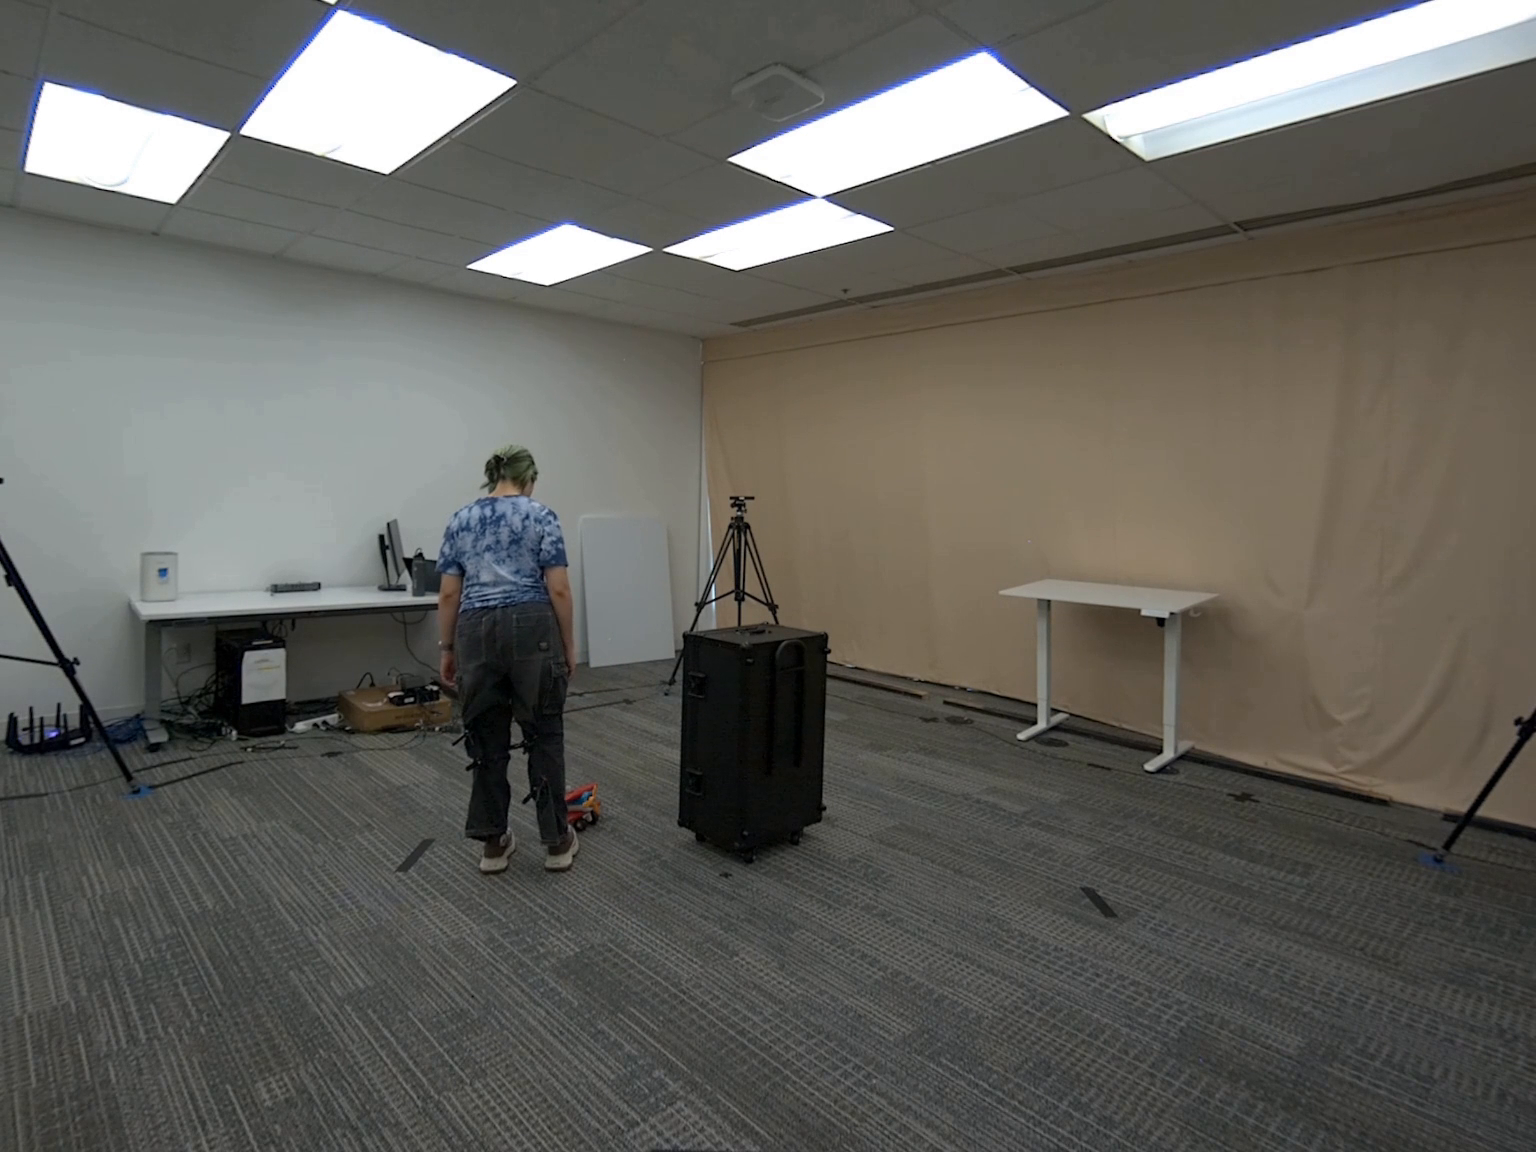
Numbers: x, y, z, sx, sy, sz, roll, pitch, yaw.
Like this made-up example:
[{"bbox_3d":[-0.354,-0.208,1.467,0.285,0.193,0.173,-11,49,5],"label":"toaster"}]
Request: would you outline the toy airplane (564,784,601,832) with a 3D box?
[{"bbox_3d":[-0.844,0.968,3.542,0.258,0.156,0.252,3,5,-4],"label":"toy airplane"}]
